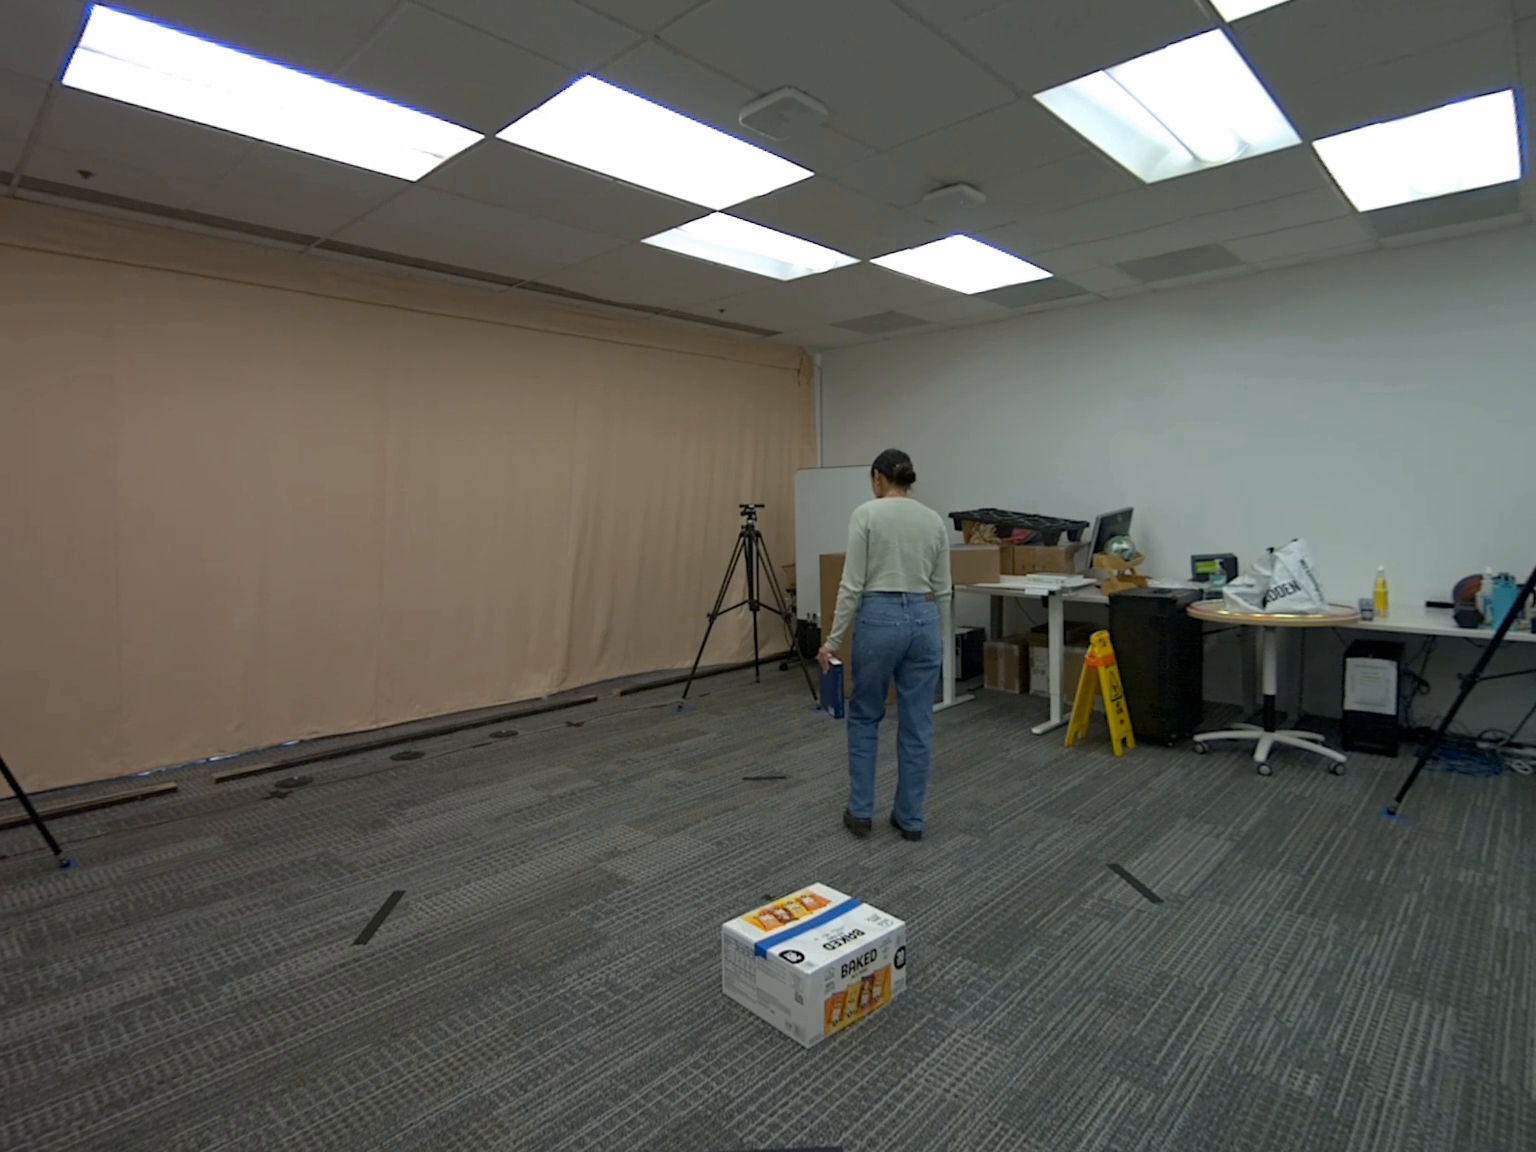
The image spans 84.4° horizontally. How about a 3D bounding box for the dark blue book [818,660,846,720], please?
[{"bbox_3d":[0.275,0.463,3.535,0.044,0.243,0.167,-3,12,-19],"label":"dark blue book"}]
